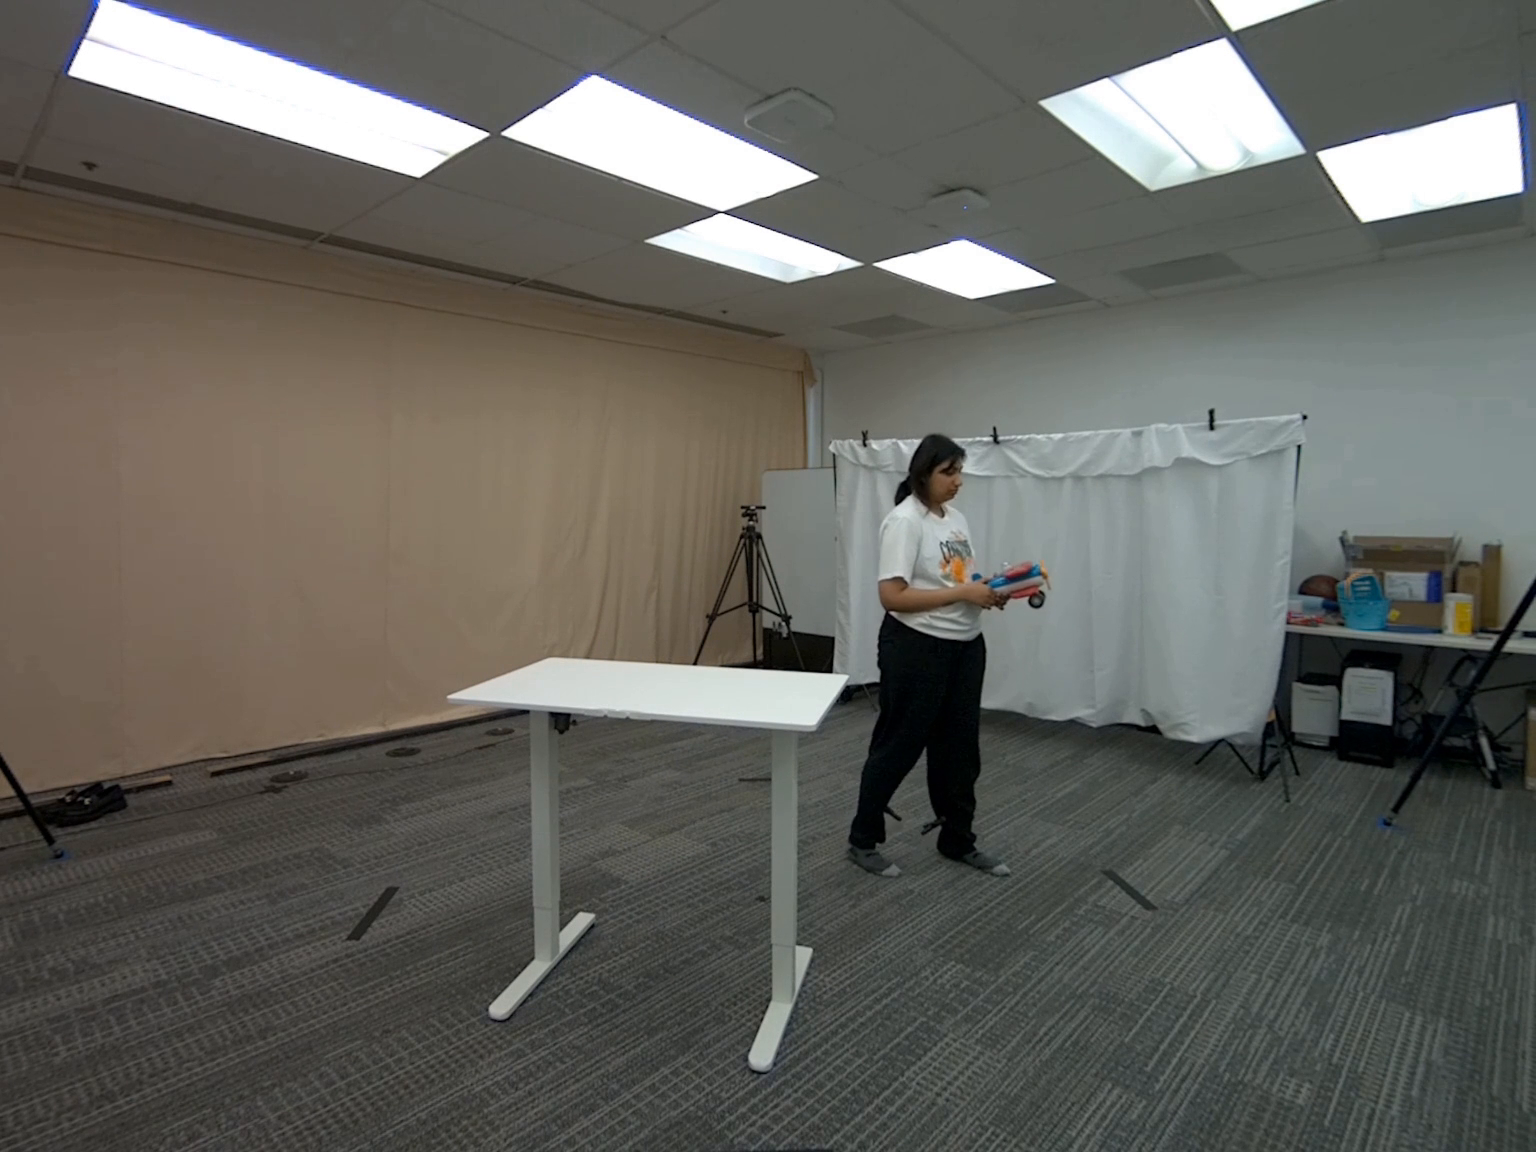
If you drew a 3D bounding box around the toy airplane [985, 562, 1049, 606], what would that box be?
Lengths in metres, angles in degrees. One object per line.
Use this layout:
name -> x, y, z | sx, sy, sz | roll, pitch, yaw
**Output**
toy airplane -> 0.857, 0.041, 3.009 | 0.257, 0.156, 0.254 | -6, 6, -7
